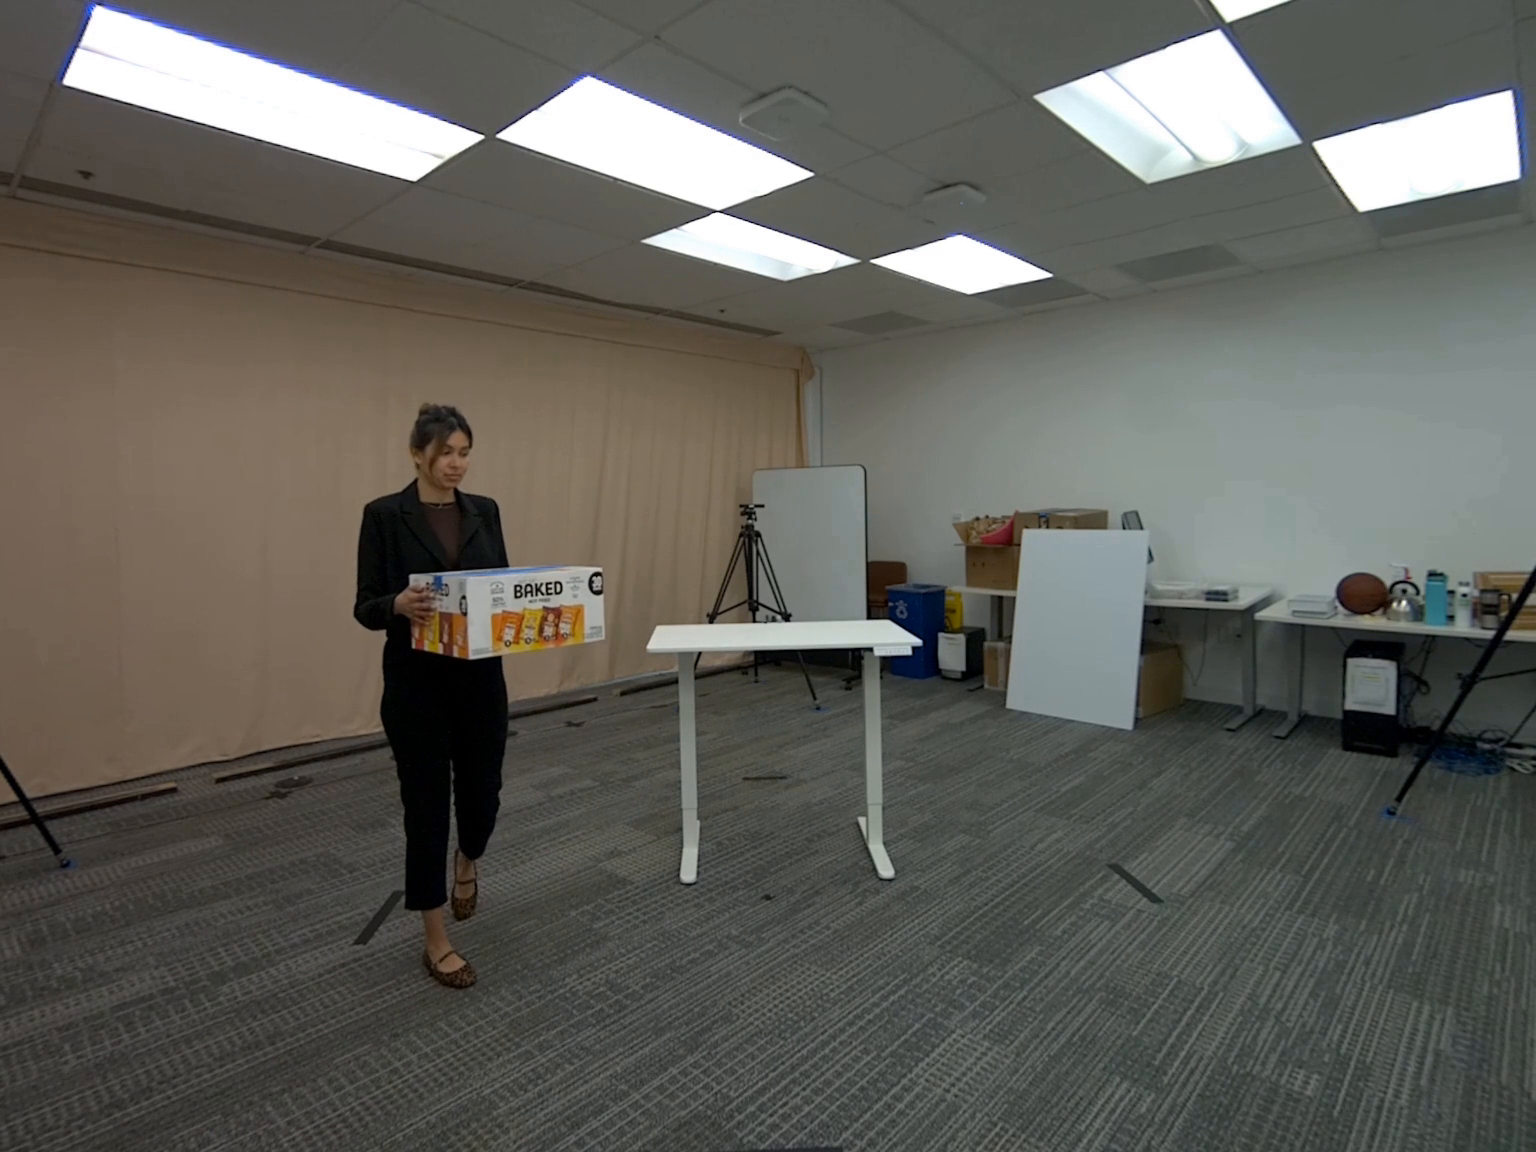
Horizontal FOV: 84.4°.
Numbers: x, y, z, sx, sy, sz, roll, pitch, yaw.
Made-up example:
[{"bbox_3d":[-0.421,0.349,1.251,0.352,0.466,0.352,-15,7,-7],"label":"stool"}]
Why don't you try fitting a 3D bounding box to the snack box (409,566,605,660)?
[{"bbox_3d":[-0.709,0.091,2.302,0.351,0.205,0.393,3,5,44],"label":"snack box"}]
